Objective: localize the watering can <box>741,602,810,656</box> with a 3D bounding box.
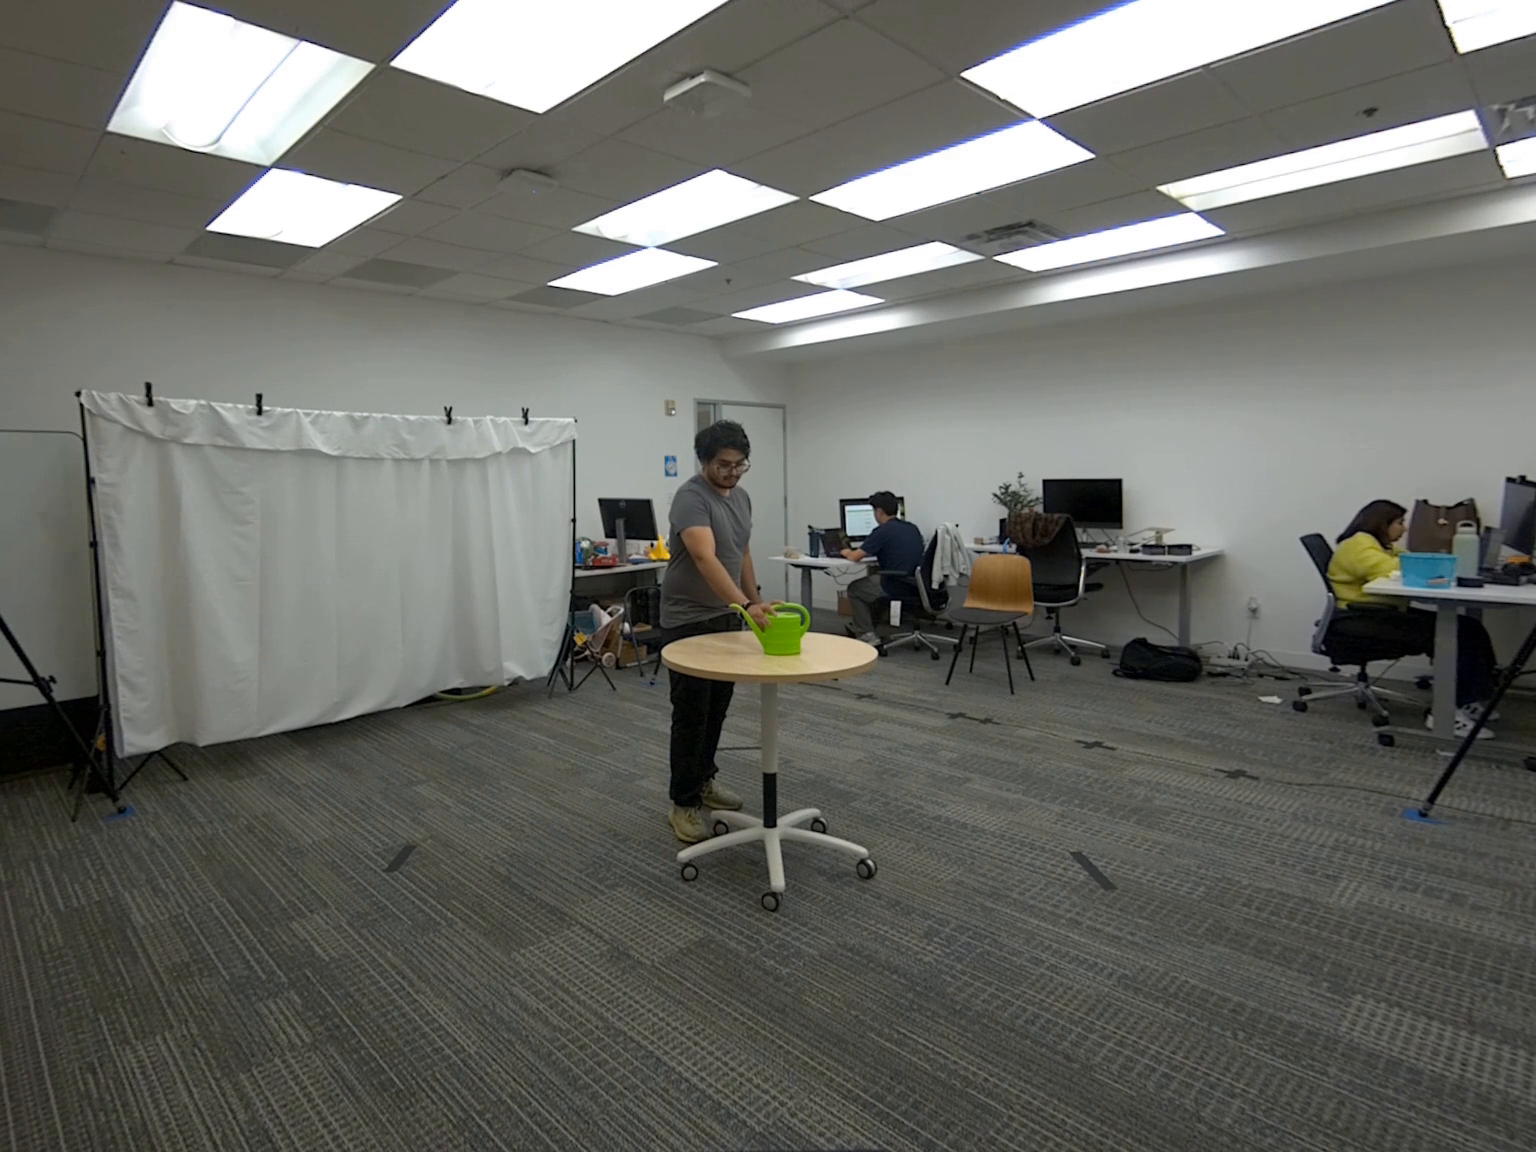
[{"bbox_3d":[0.014,0.187,2.992,0.279,0.176,0.098,2,5,2],"label":"watering can"}]
